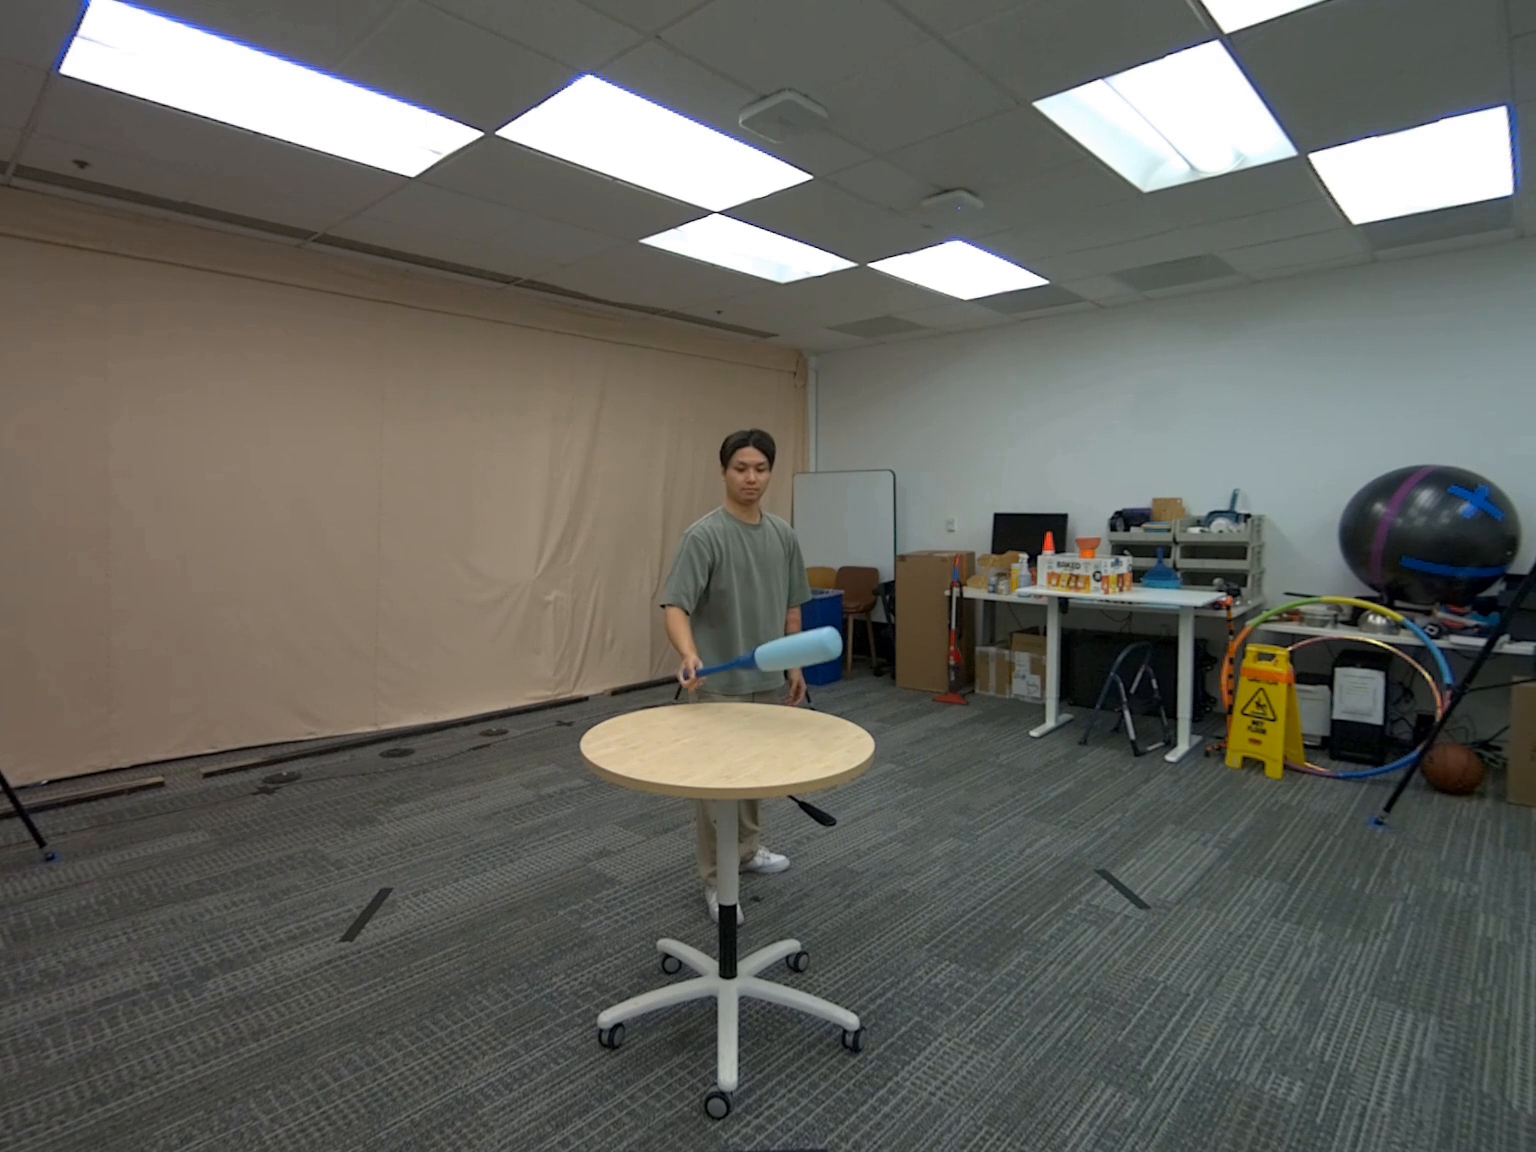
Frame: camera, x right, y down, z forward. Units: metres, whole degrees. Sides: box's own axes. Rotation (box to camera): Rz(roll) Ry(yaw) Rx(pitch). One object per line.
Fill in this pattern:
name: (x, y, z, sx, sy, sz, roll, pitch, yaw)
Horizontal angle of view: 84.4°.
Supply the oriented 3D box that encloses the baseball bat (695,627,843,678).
baseball bat: (-0.028, 0.222, 2.397, 0.556, 0.089, 0.086, -18, -8, 38)
